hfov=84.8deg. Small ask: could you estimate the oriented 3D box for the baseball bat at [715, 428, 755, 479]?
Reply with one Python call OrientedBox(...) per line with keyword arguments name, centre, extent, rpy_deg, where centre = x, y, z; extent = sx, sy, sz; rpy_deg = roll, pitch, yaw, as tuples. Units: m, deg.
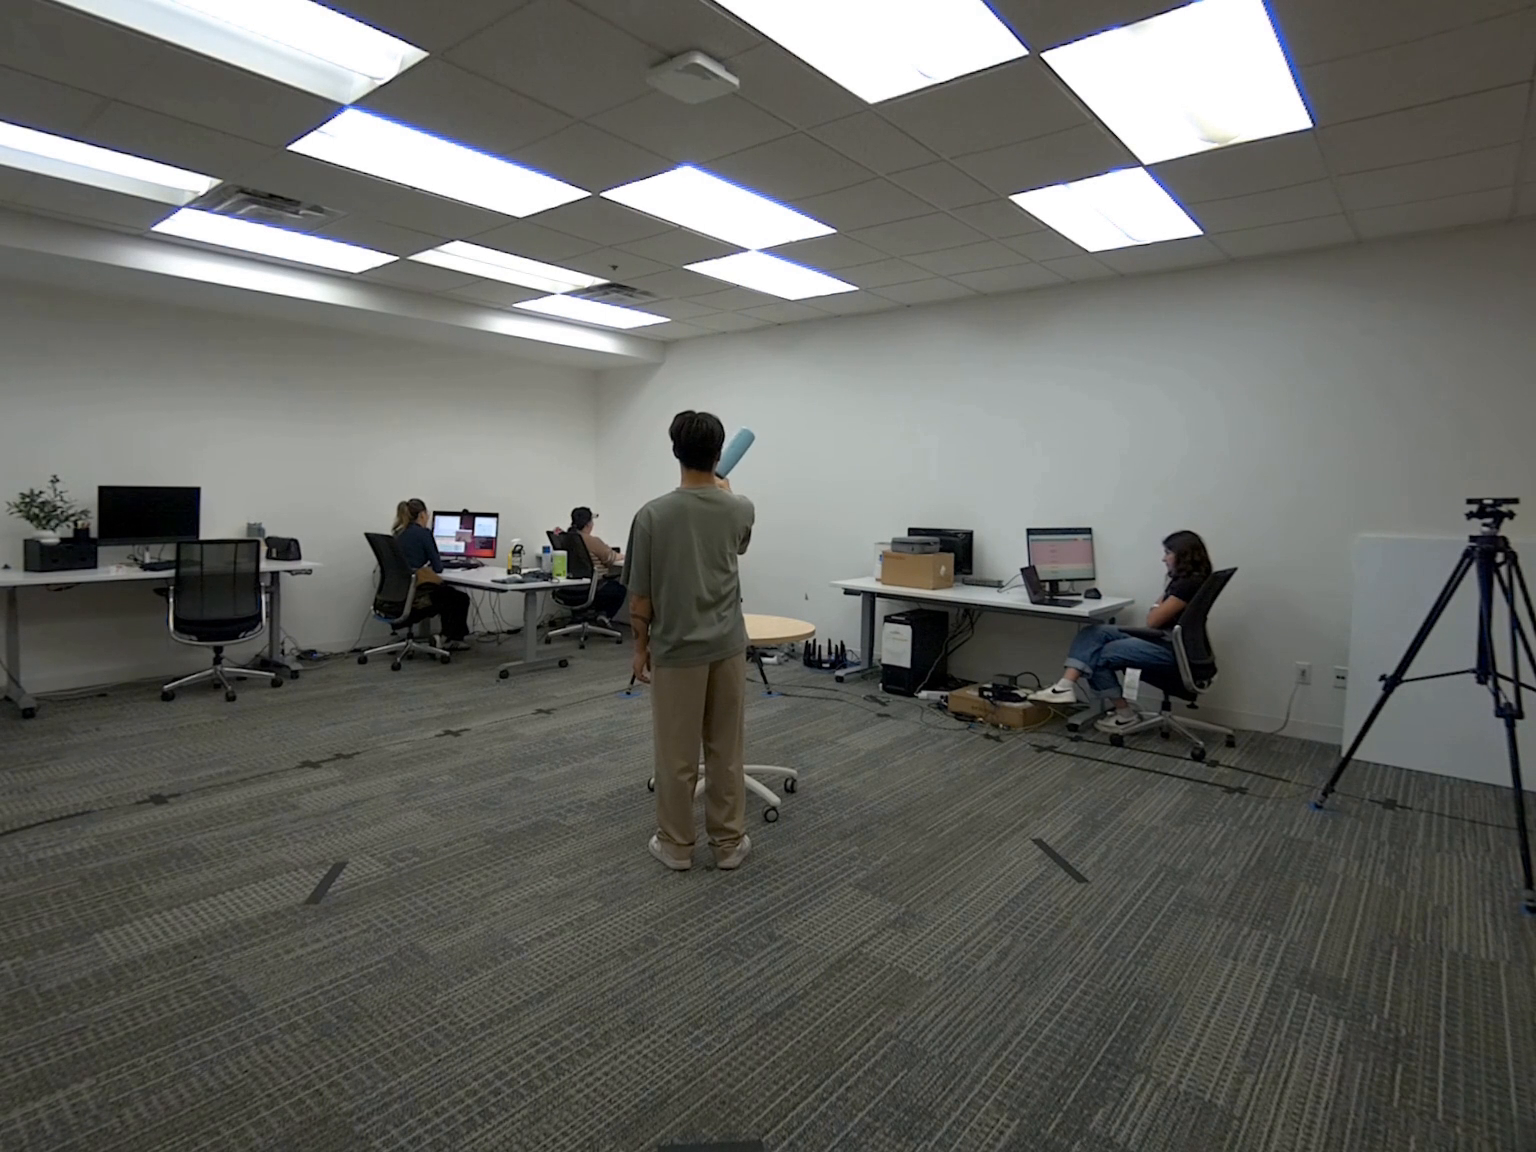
OrientedBox(name="baseball bat", centre=(-0.245, -0.432, 3.721), extent=(0.090, 0.544, 0.088), rpy_deg=(34, -11, 5))
